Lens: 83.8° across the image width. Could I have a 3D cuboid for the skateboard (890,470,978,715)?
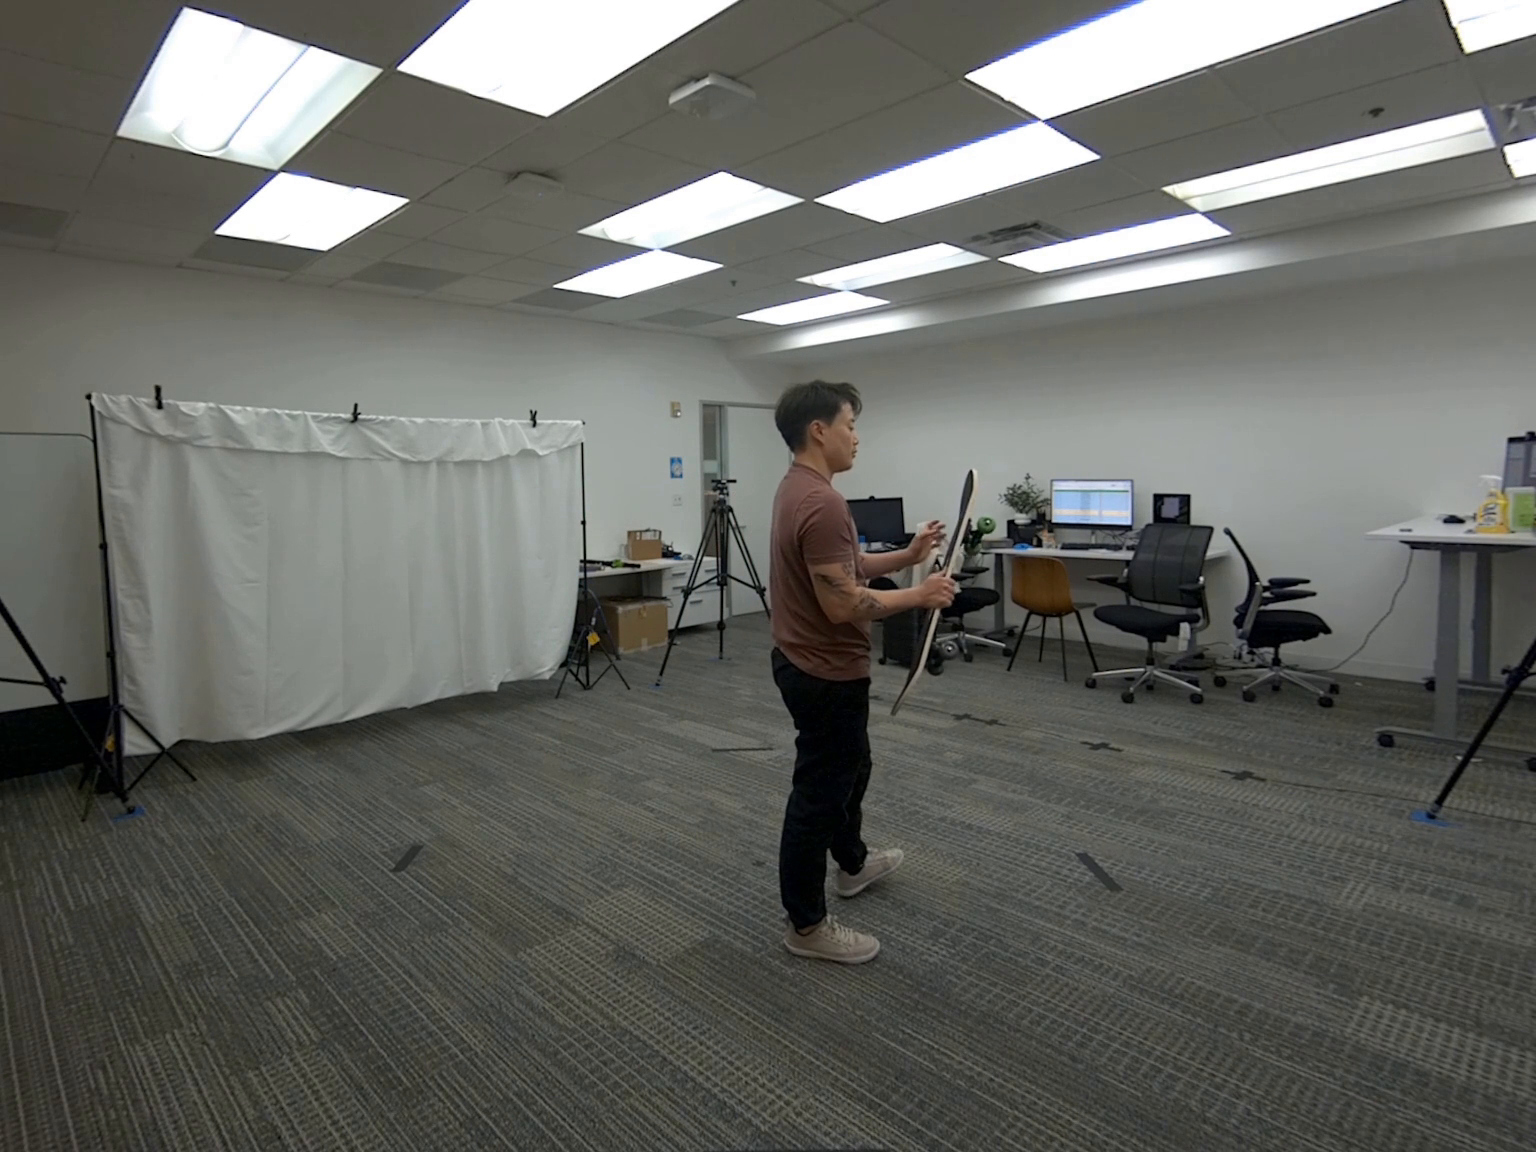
[{"bbox_3d":[0.512,0.053,2.430,0.111,0.793,0.190,19,-22,6],"label":"skateboard"}]
